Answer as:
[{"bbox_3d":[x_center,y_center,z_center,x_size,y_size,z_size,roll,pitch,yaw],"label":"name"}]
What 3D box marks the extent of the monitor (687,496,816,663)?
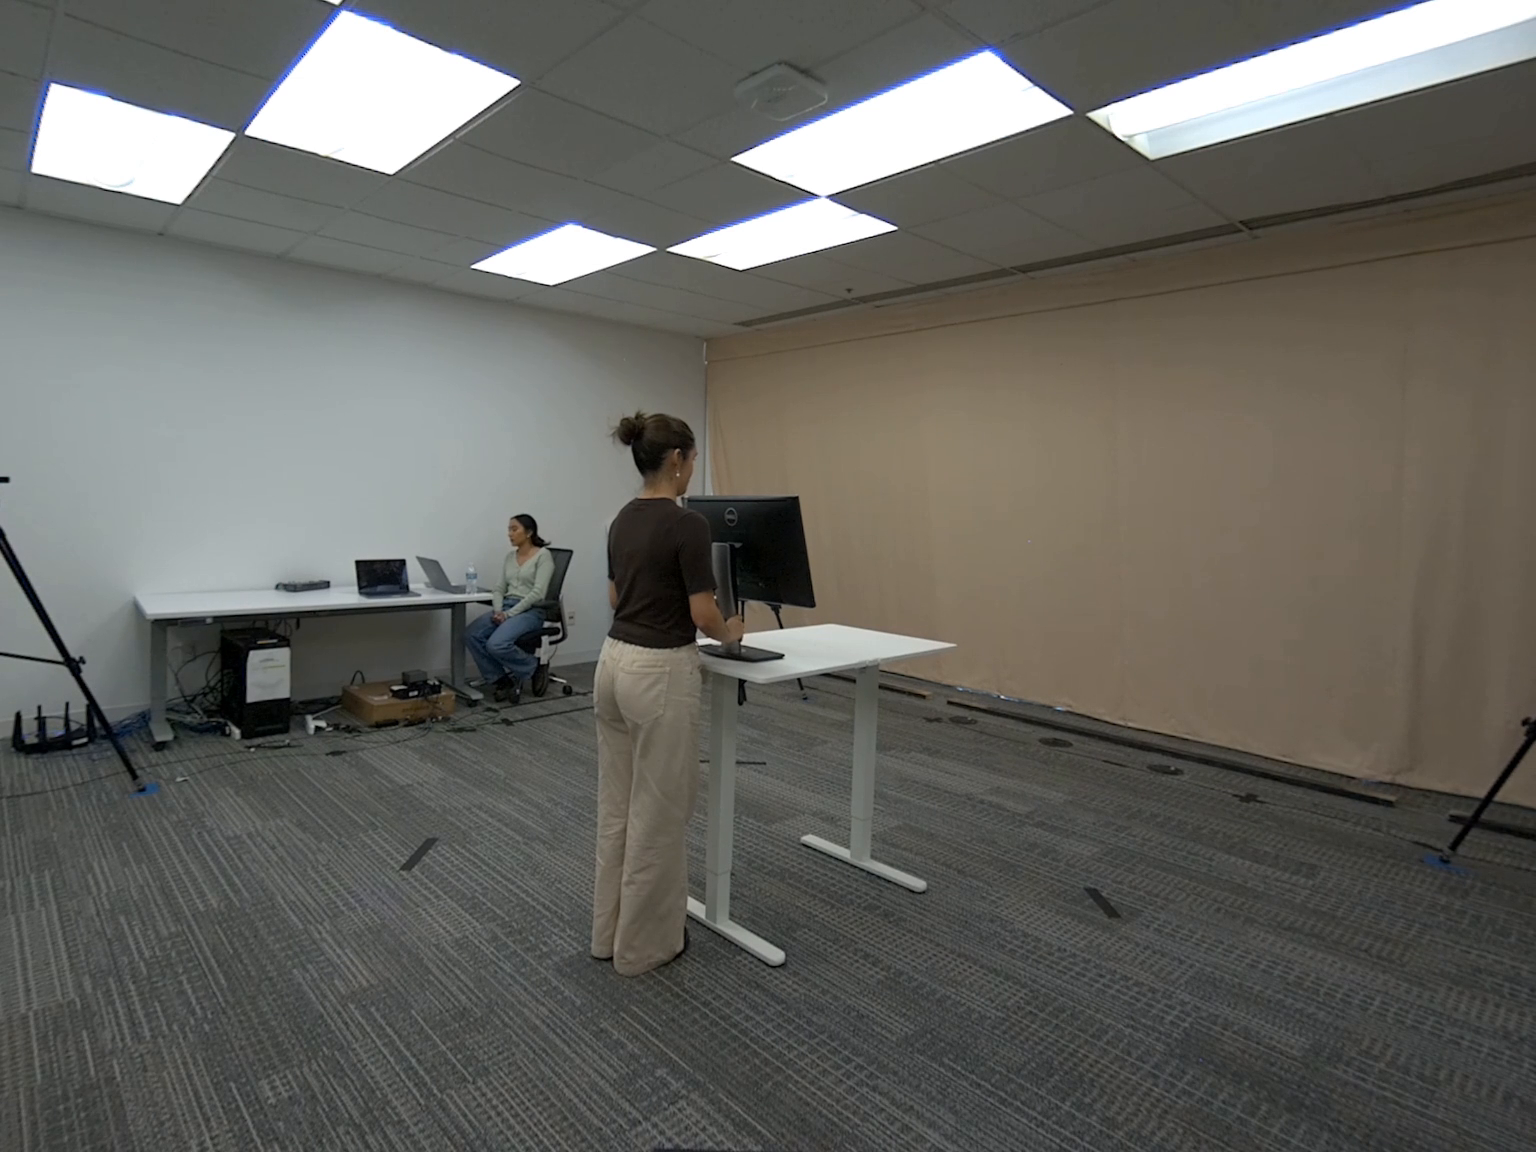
[{"bbox_3d":[-0.093,-0.001,2.705,0.543,0.516,0.170,3,0,45],"label":"monitor"}]
